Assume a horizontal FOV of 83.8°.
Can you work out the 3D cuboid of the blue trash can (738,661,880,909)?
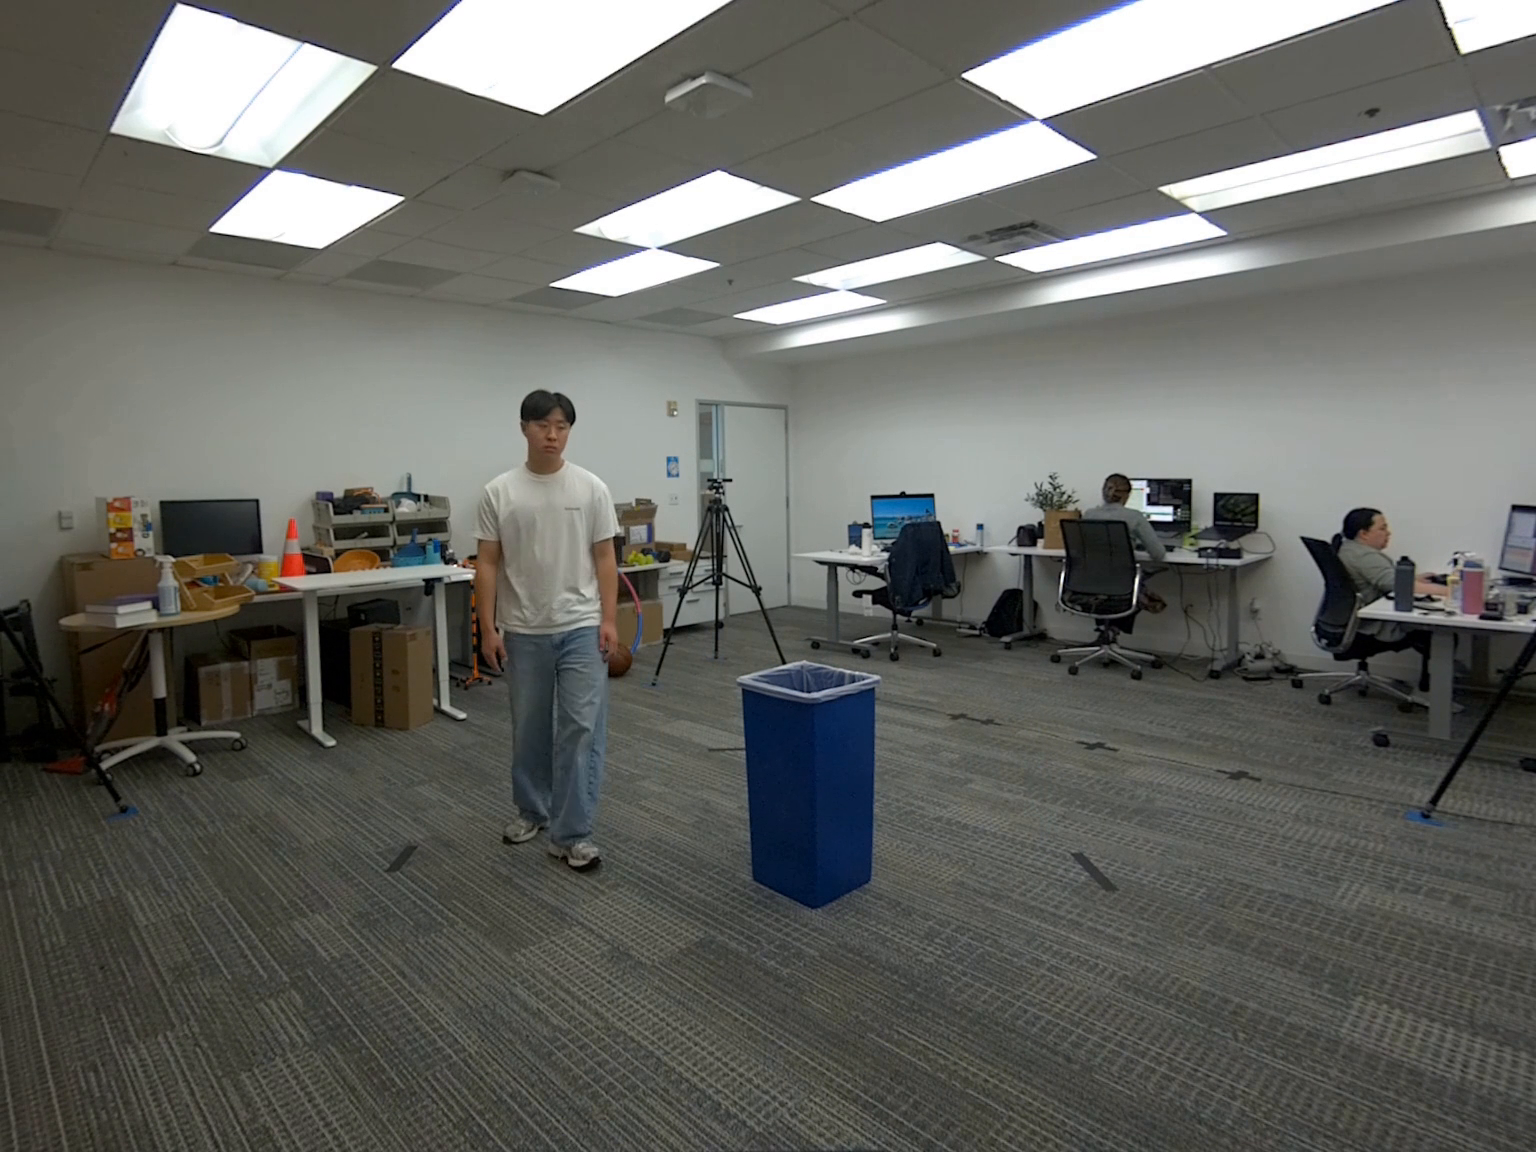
[{"bbox_3d":[0.147,0.702,2.939,0.364,0.711,0.389,-5,5,-44],"label":"blue trash can"}]
